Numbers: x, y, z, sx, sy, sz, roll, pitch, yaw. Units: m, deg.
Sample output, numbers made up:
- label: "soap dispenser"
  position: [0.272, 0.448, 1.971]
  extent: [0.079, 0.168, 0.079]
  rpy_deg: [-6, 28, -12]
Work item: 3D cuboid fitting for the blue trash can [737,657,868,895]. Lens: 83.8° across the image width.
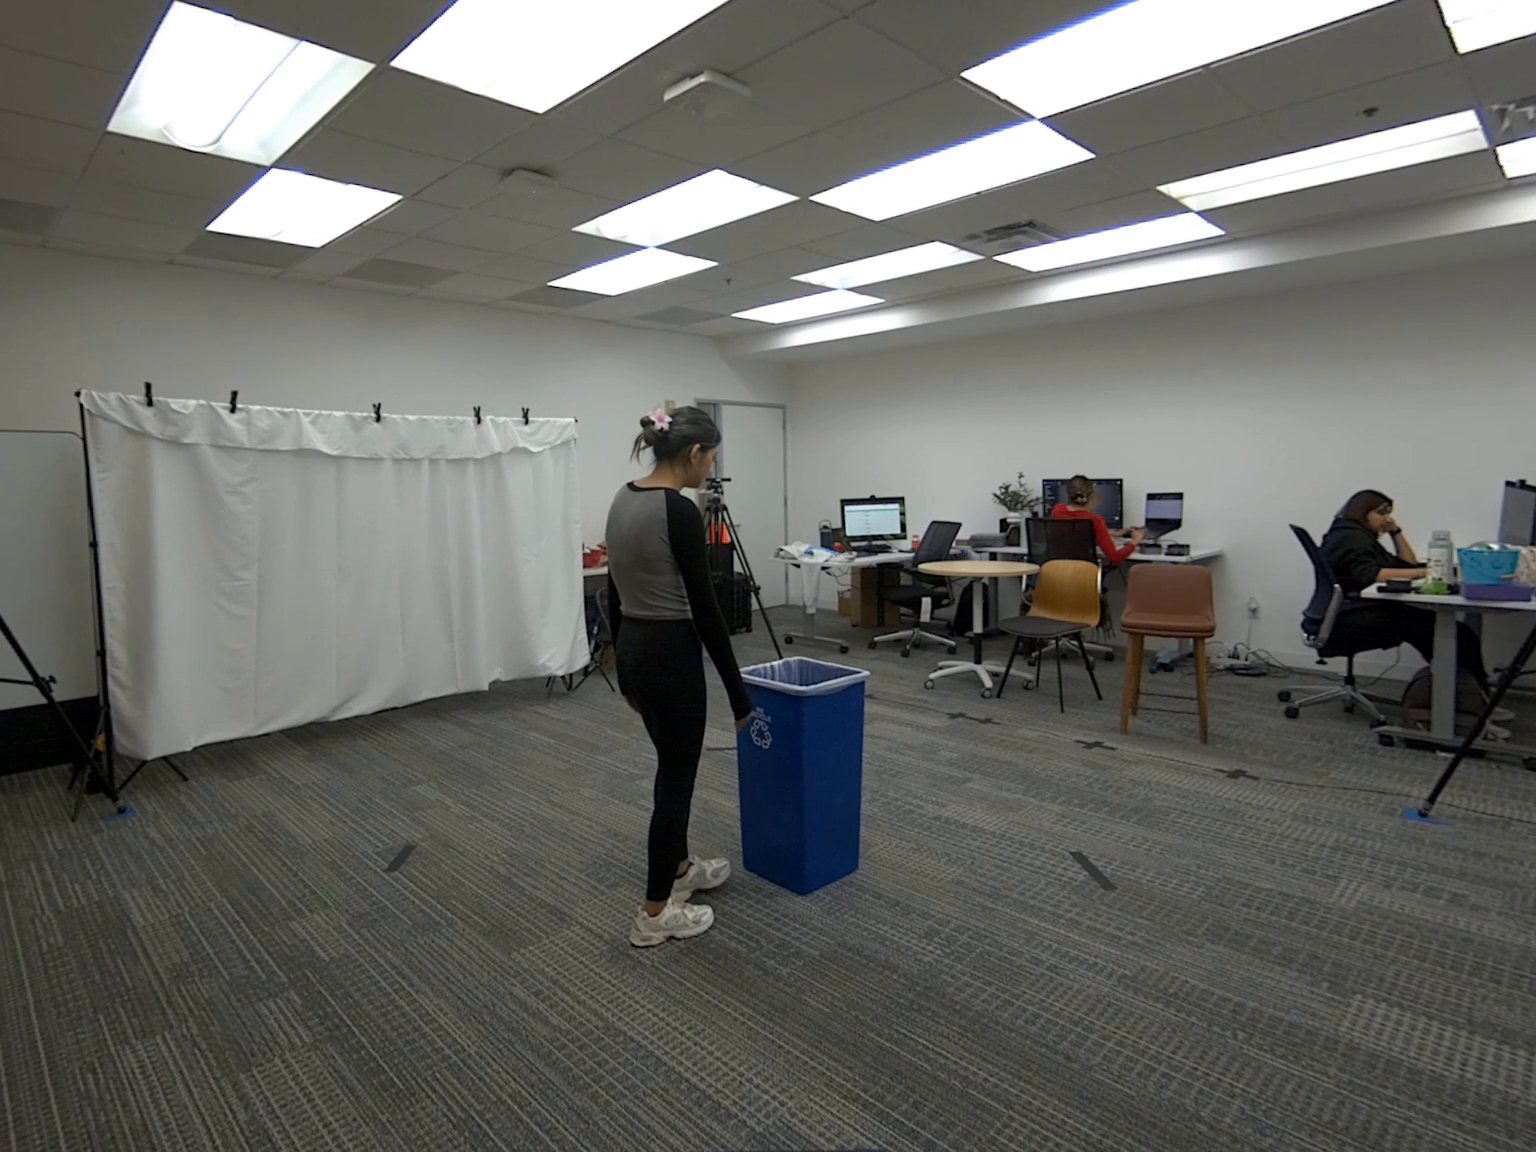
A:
- label: "blue trash can"
  position: [0.123, 0.689, 3.031]
  extent: [0.368, 0.711, 0.385]
  rpy_deg: [-5, 5, -43]
